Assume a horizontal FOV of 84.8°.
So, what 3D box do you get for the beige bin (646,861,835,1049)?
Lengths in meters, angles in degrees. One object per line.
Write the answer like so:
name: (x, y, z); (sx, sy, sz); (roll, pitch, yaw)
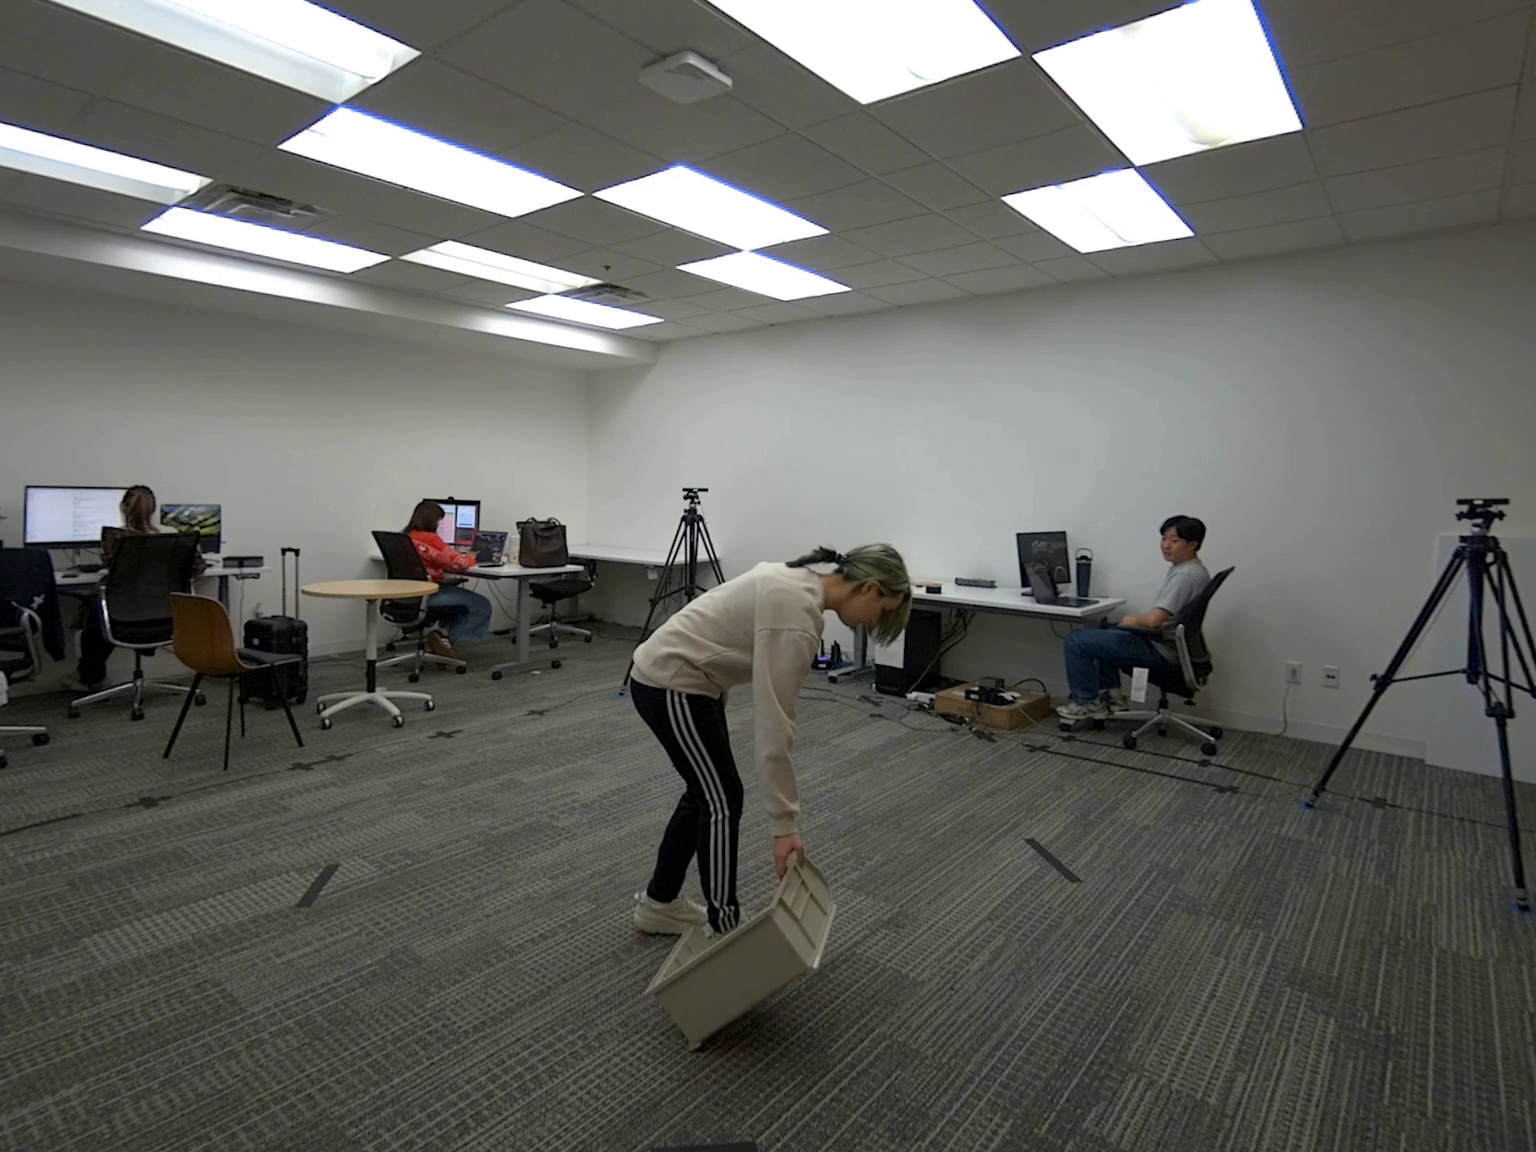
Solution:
beige bin: (-0.058, 0.954, 2.219); (0.423, 0.191, 0.373); (-40, -5, 14)
